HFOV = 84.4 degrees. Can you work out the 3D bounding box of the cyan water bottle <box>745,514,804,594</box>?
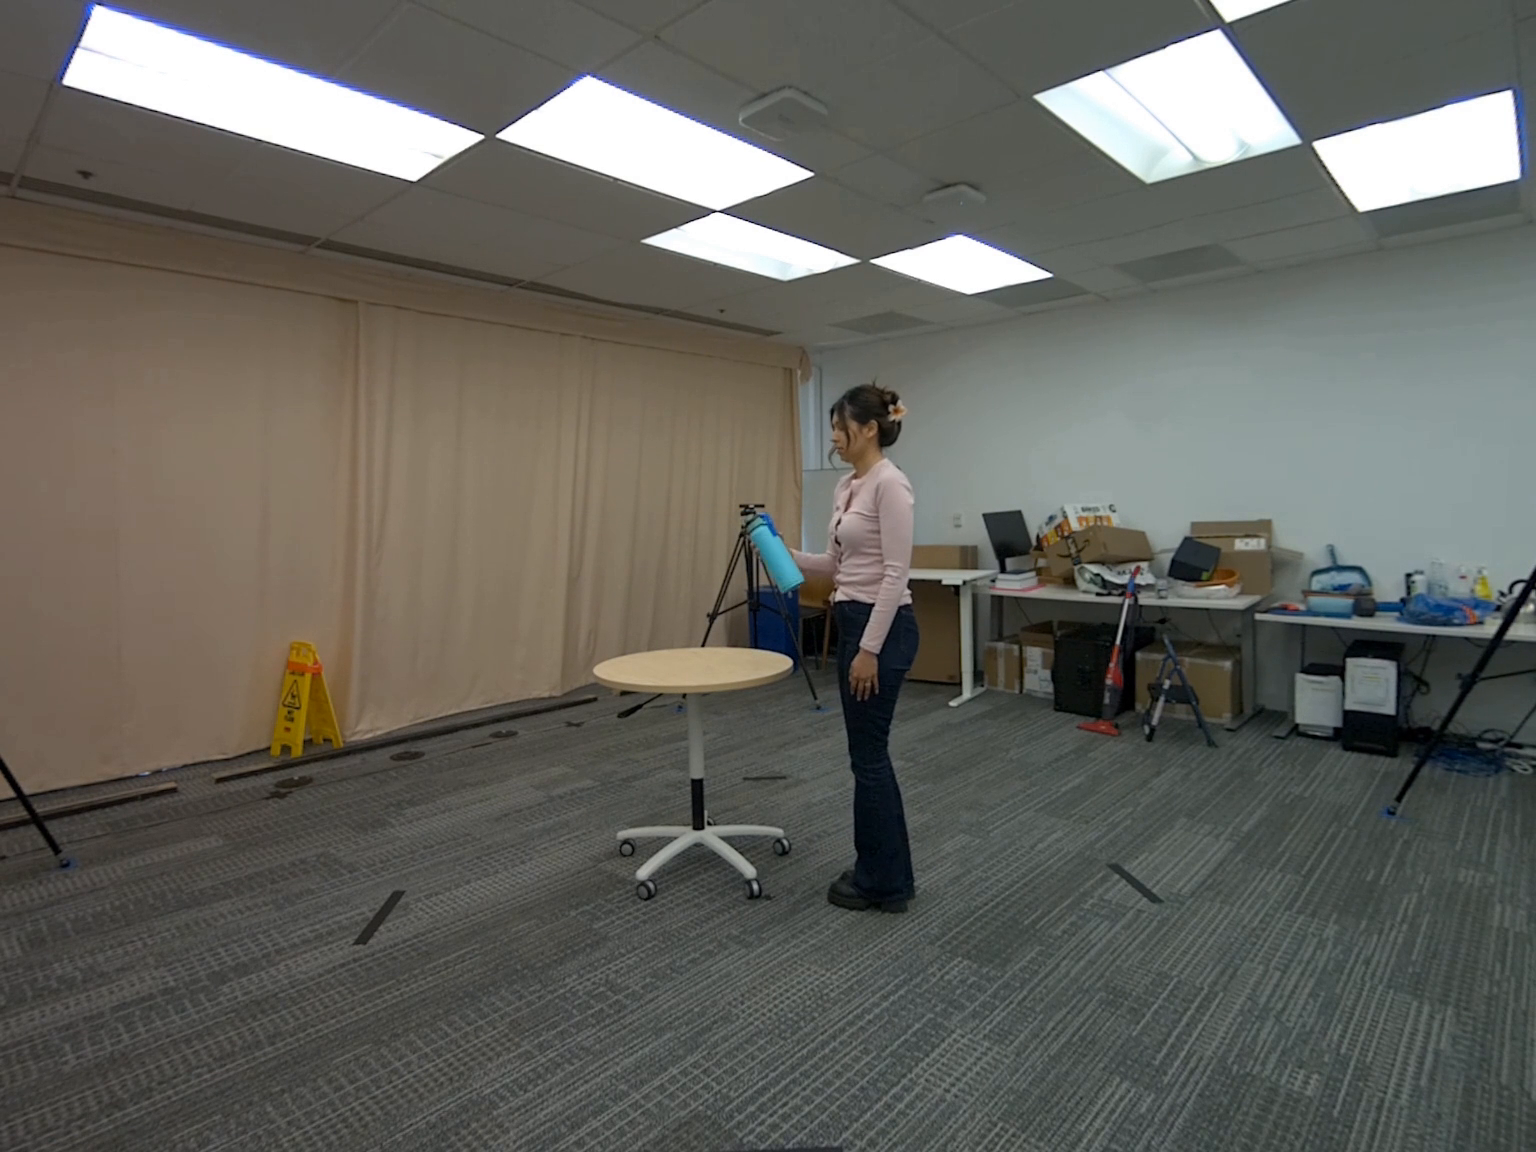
[{"bbox_3d":[0.023,-0.088,2.826,0.092,0.286,0.092,-29,-8,-6],"label":"cyan water bottle"}]
